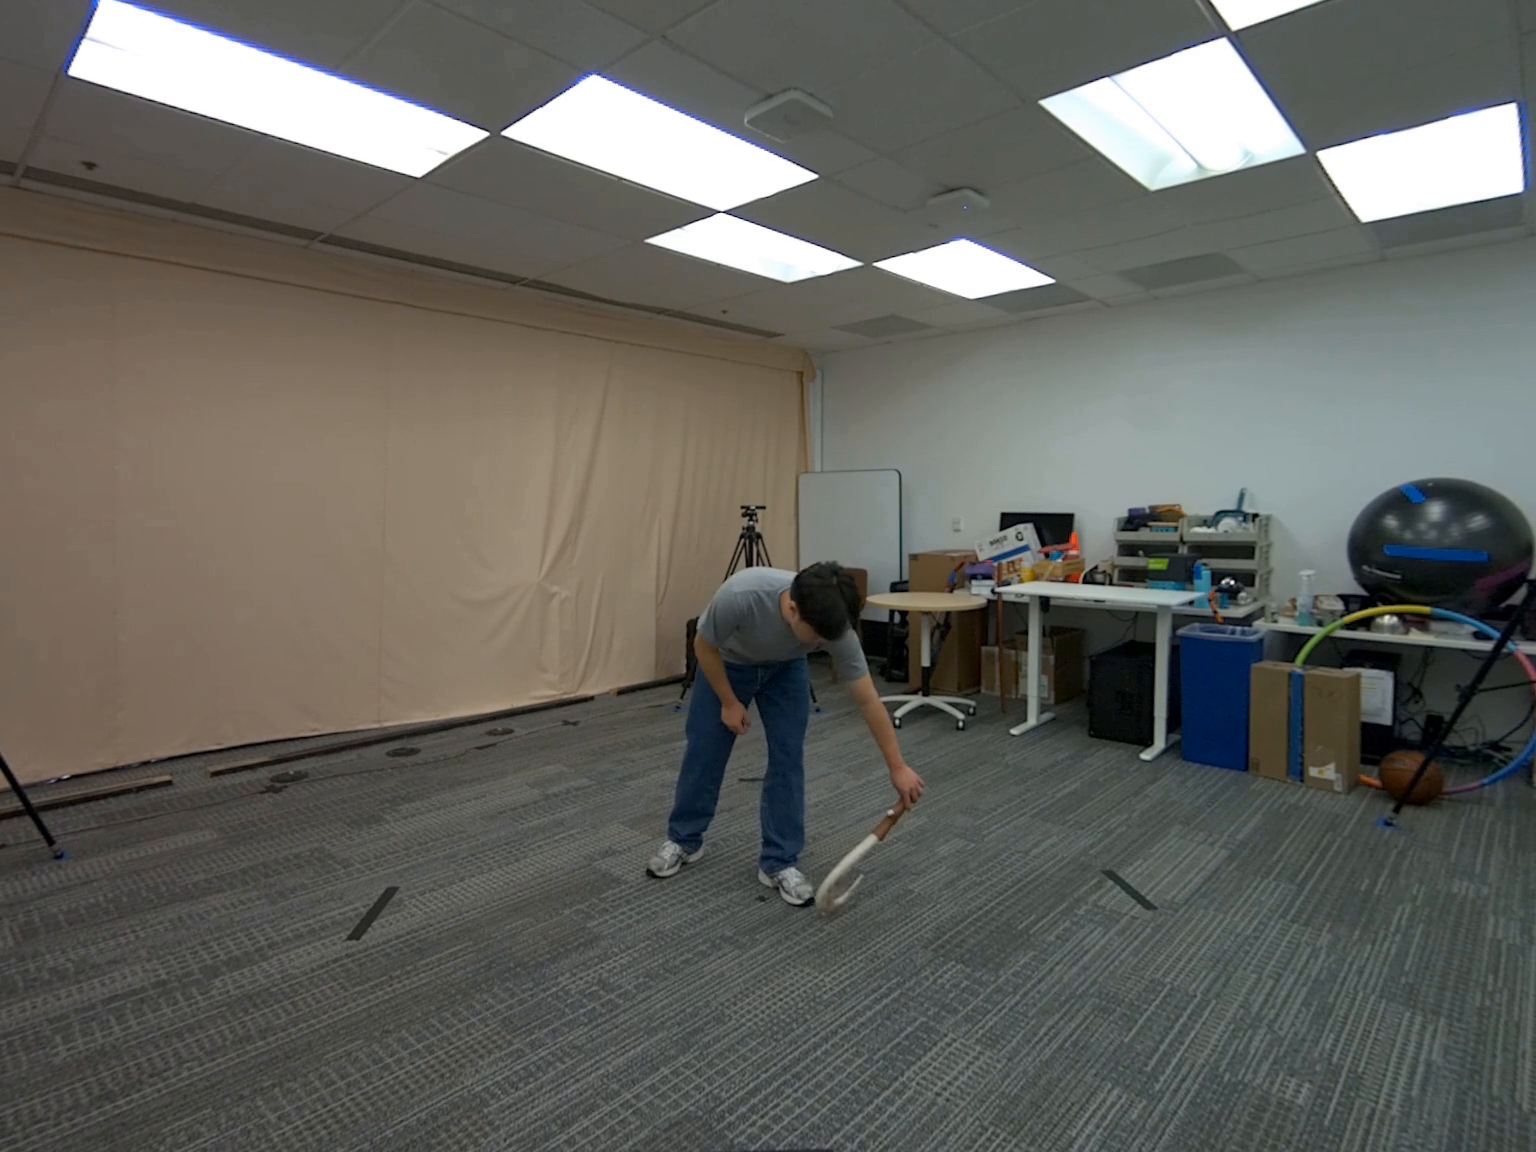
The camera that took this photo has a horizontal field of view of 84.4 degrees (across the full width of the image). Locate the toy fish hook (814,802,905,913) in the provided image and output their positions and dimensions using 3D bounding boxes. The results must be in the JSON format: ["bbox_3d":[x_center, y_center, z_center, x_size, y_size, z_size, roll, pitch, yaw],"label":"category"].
[{"bbox_3d":[0.344,0.954,2.894,0.050,0.504,0.217,36,-18,40],"label":"toy fish hook"}]
